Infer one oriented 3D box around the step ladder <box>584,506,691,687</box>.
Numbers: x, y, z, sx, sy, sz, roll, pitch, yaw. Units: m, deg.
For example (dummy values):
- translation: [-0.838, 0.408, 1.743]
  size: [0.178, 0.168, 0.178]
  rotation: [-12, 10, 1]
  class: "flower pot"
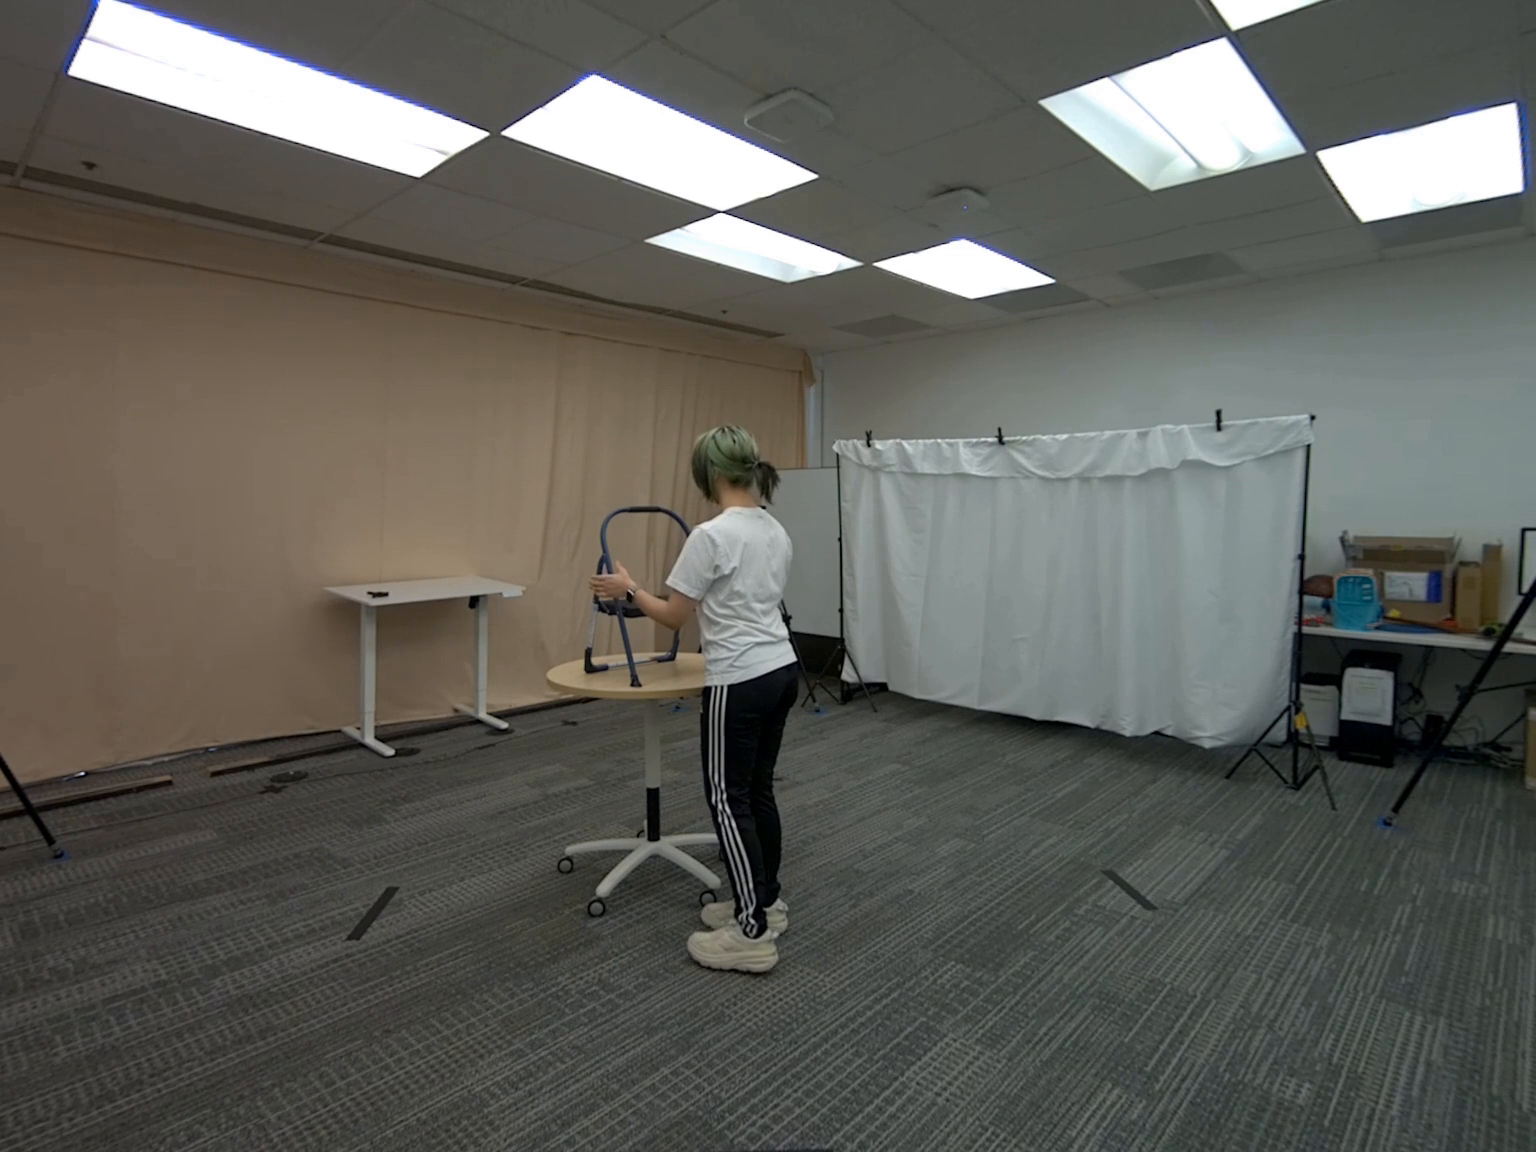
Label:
- translation: [-0.418, 0.051, 3.077]
  size: [0.417, 0.605, 0.361]
  rotation: [-3, 4, -42]
  class: "step ladder"
